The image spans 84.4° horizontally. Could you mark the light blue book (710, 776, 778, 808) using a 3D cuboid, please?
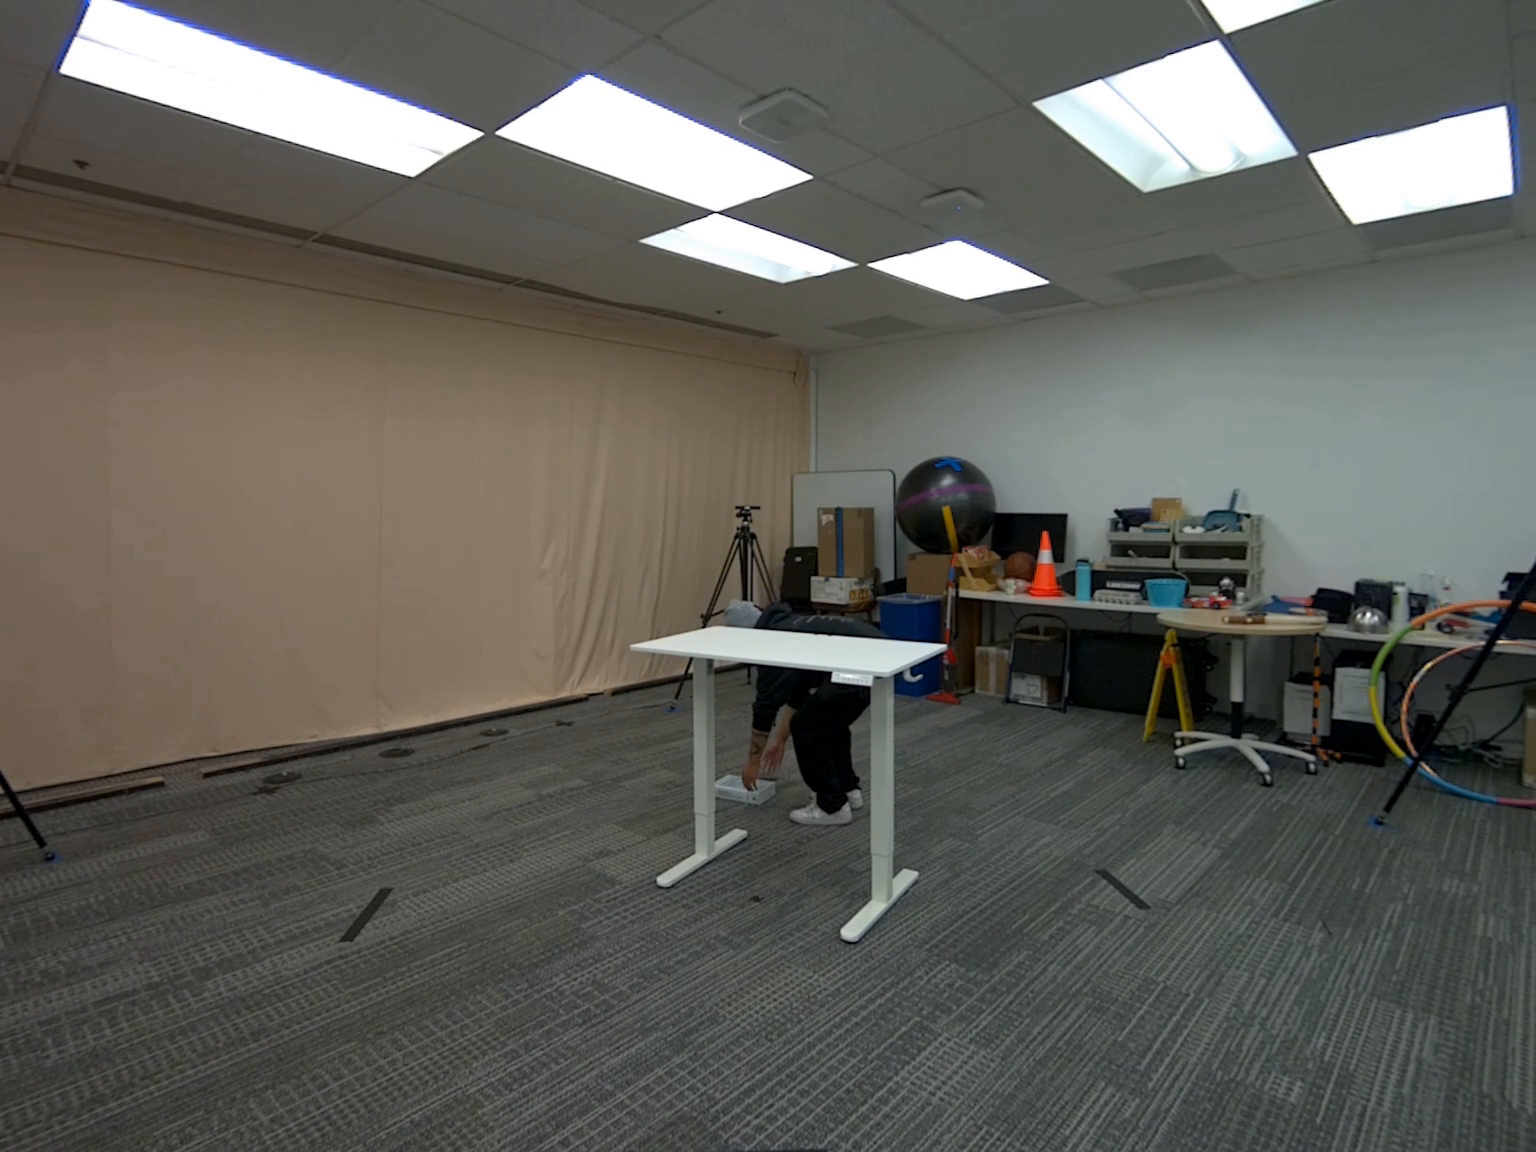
[{"bbox_3d":[-0.119,1.032,4.065,0.268,0.059,0.186,1,4,28],"label":"light blue book"}]
